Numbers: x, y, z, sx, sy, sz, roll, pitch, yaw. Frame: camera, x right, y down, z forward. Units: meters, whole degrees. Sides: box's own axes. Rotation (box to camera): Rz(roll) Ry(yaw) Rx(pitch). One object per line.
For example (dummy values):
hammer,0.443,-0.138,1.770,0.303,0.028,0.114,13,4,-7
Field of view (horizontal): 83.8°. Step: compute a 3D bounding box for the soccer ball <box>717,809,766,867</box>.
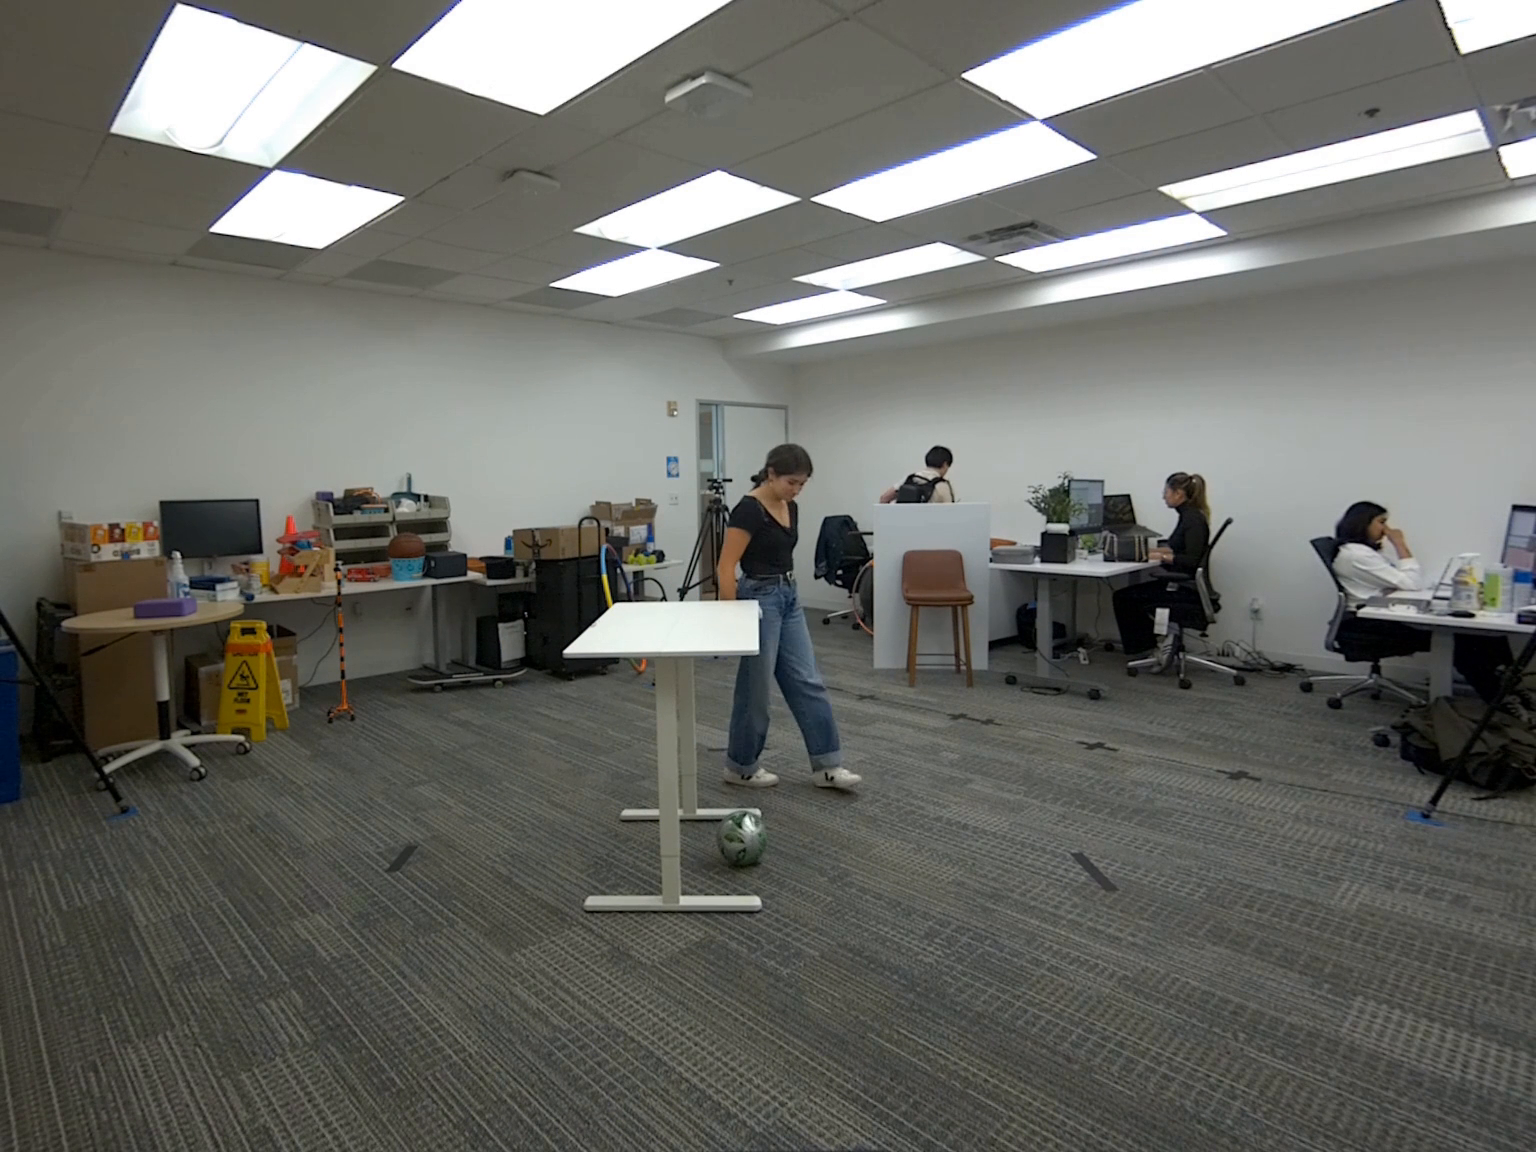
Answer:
soccer ball,-0.096,0.959,3.114,0.187,0.187,0.188,-1,5,-2
